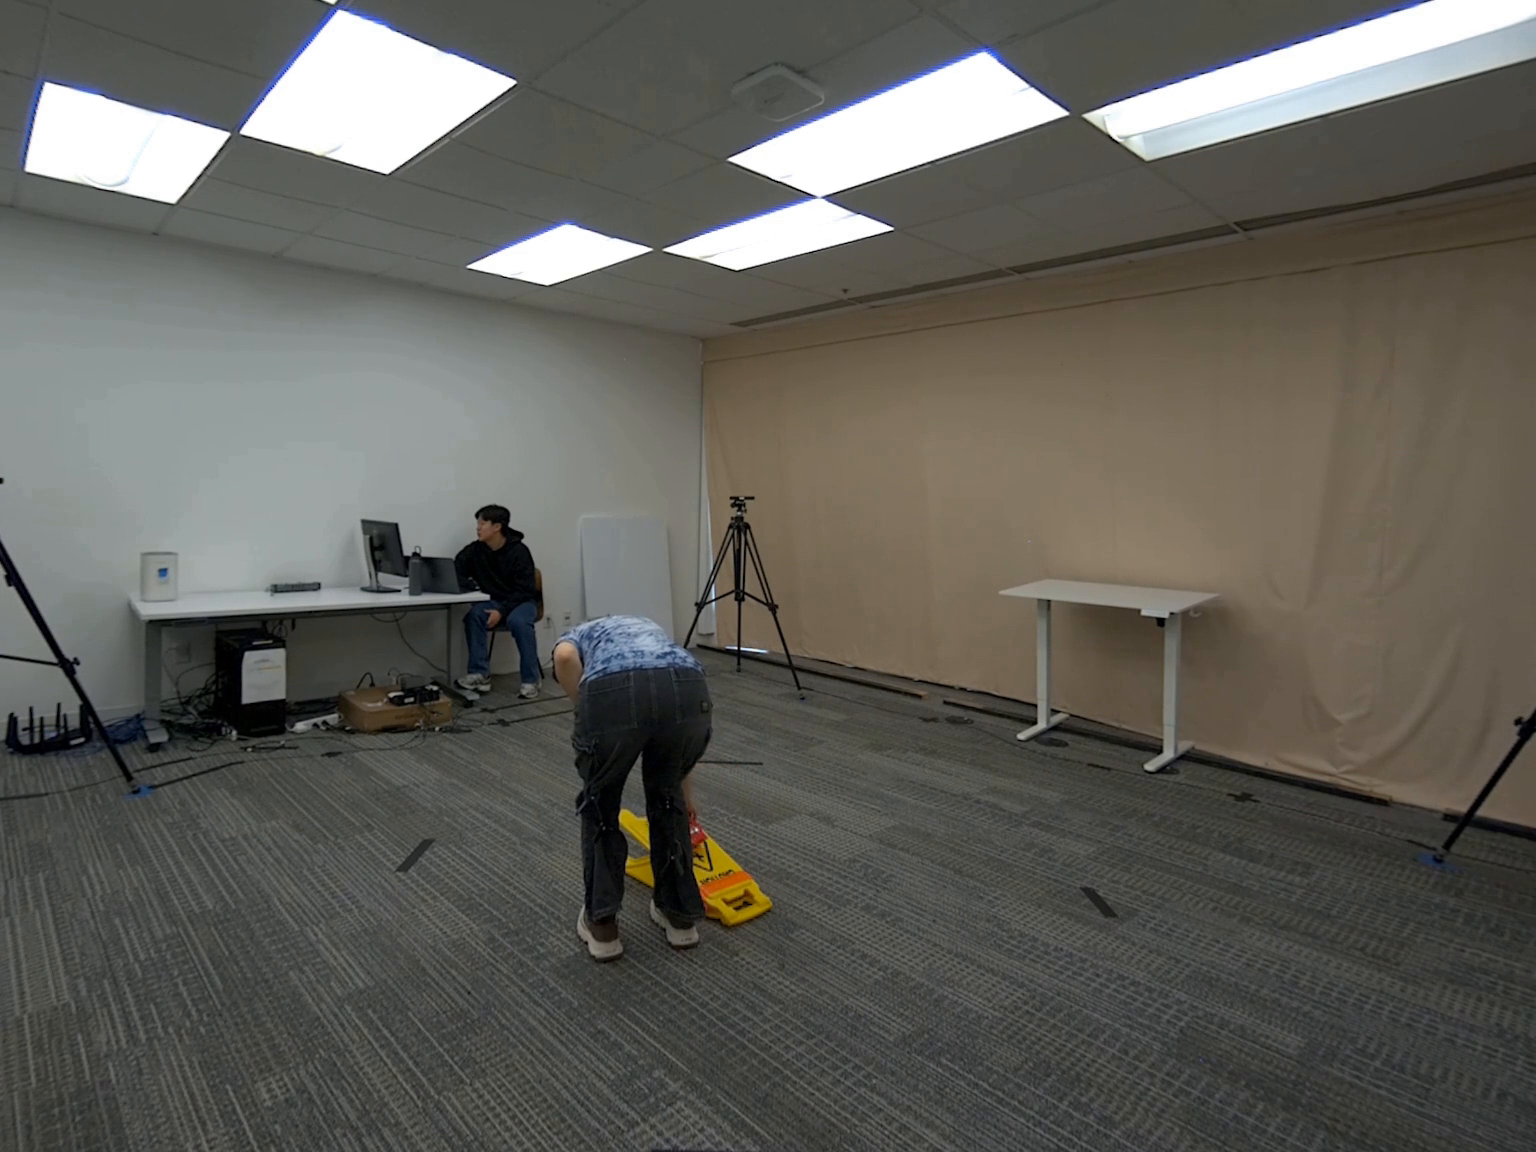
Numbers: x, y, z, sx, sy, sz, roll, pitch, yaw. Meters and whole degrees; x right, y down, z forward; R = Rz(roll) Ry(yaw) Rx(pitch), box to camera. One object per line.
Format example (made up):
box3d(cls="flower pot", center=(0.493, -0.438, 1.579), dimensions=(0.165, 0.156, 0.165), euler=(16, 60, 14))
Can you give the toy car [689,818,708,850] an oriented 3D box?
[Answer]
box3d(cls="toy car", center=(-0.335, 0.930, 3.069), dimensions=(0.127, 0.083, 0.262), euler=(-1, 12, -44))
